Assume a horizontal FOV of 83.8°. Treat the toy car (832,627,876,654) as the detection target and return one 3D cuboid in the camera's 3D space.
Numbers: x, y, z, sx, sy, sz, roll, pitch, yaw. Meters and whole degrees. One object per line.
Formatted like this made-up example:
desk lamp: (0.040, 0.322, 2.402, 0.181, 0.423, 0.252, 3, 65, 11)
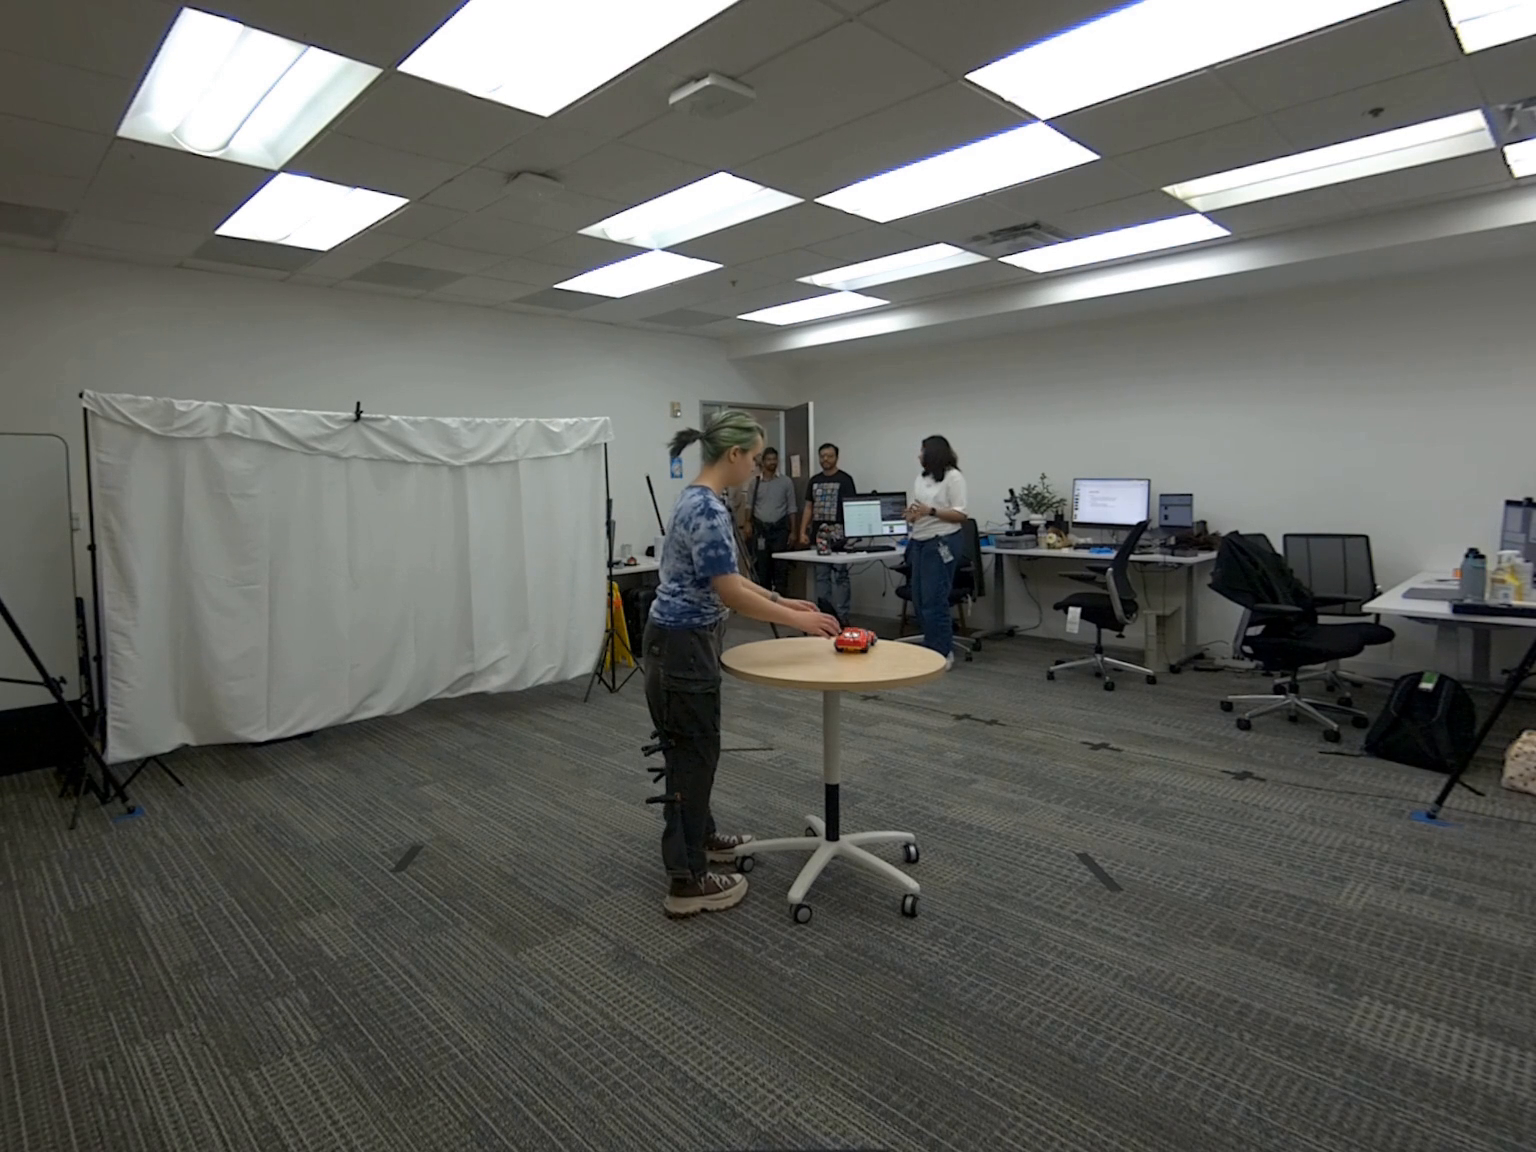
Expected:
toy car: (0.316, 0.232, 3.067, 0.133, 0.083, 0.248, 1, -5, 18)
